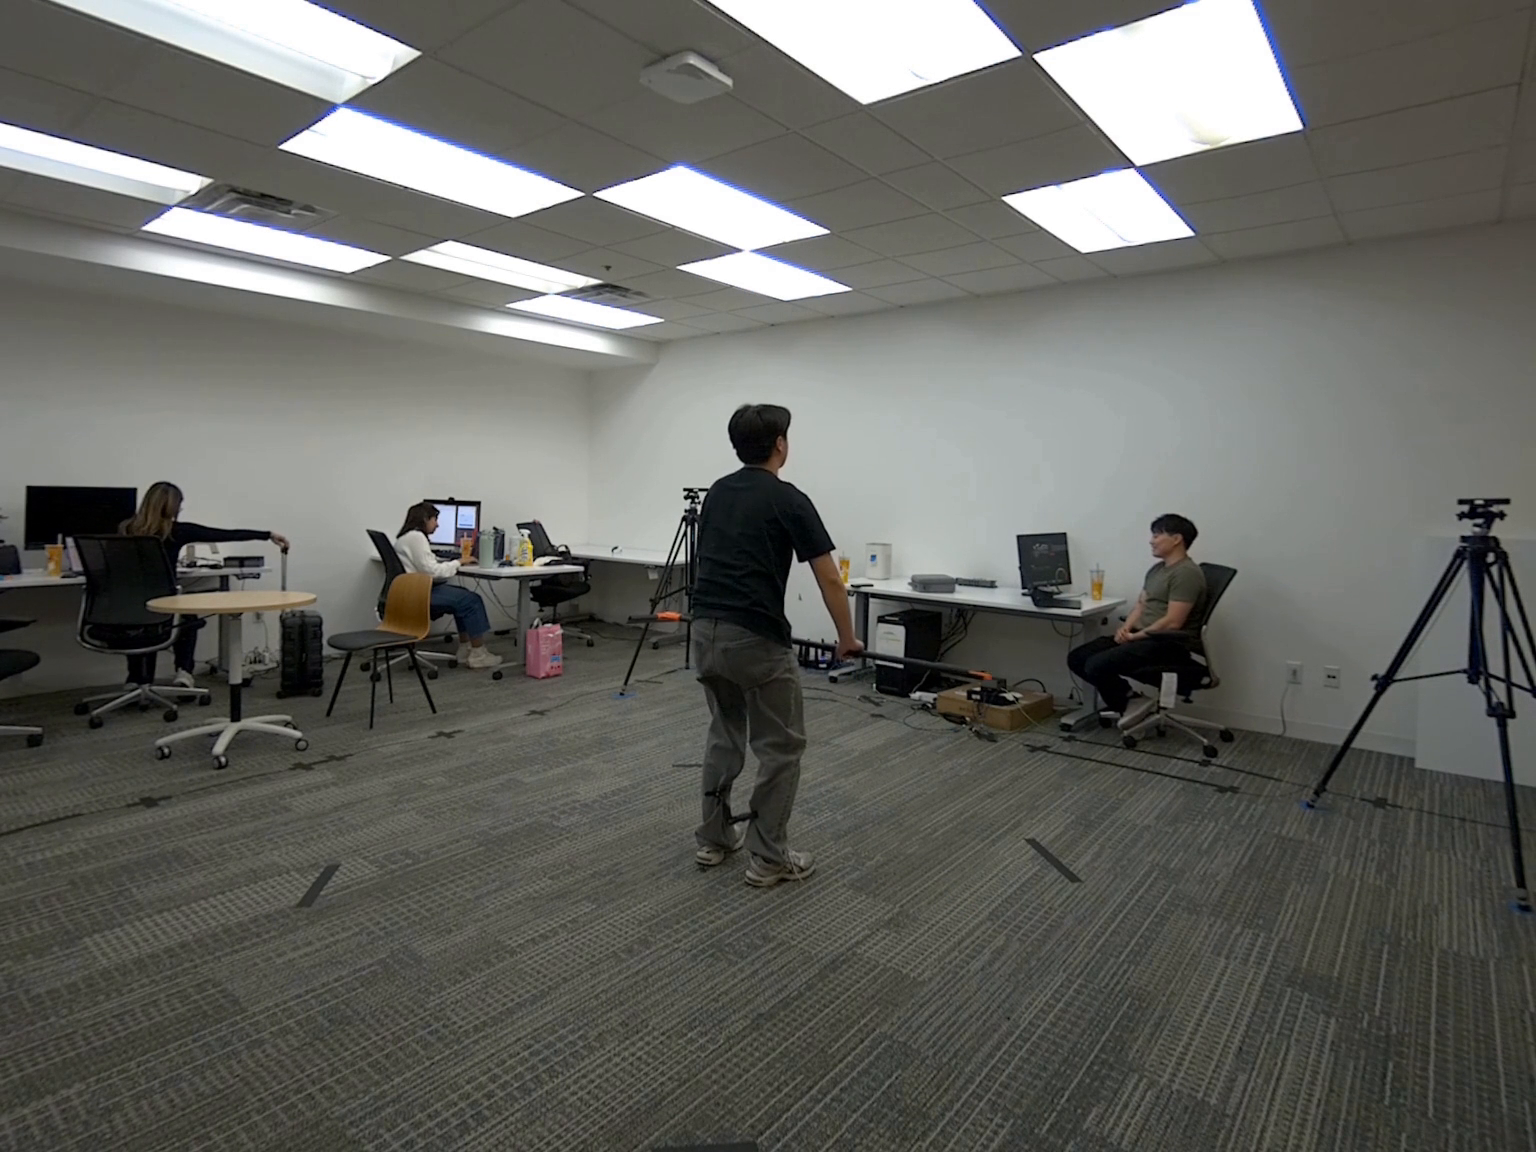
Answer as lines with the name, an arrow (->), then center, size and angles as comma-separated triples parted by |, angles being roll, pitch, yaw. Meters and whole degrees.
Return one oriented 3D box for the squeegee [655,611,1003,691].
squeegee -> 0.115, 0.257, 3.281 | 1.592, 0.053, 0.421 | 8, -1, 42
